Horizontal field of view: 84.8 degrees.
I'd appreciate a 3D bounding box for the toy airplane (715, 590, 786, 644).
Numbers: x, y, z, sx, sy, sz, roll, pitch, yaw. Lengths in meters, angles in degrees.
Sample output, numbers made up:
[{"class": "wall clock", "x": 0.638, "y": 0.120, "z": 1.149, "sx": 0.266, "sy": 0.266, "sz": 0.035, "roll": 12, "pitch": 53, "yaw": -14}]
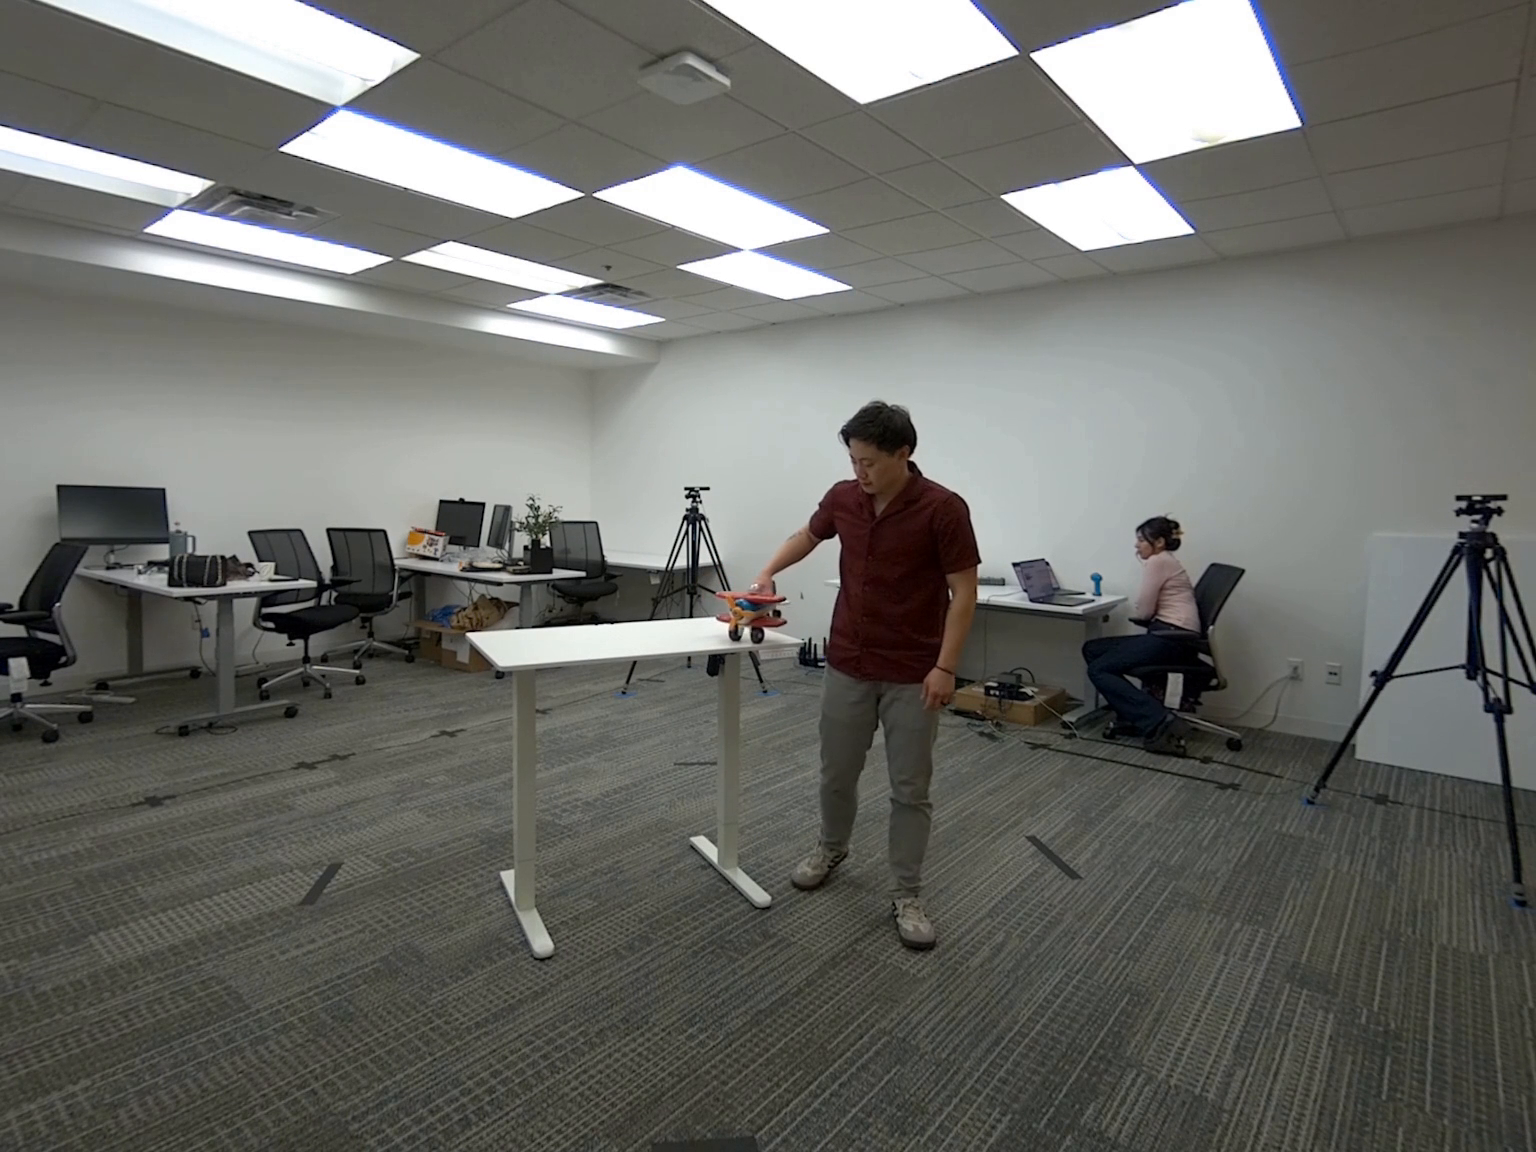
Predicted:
[{"class": "toy airplane", "x": -0.065, "y": 0.112, "z": 2.862, "sx": 0.253, "sy": 0.153, "sz": 0.263, "roll": -8, "pitch": 21, "yaw": 7}]
